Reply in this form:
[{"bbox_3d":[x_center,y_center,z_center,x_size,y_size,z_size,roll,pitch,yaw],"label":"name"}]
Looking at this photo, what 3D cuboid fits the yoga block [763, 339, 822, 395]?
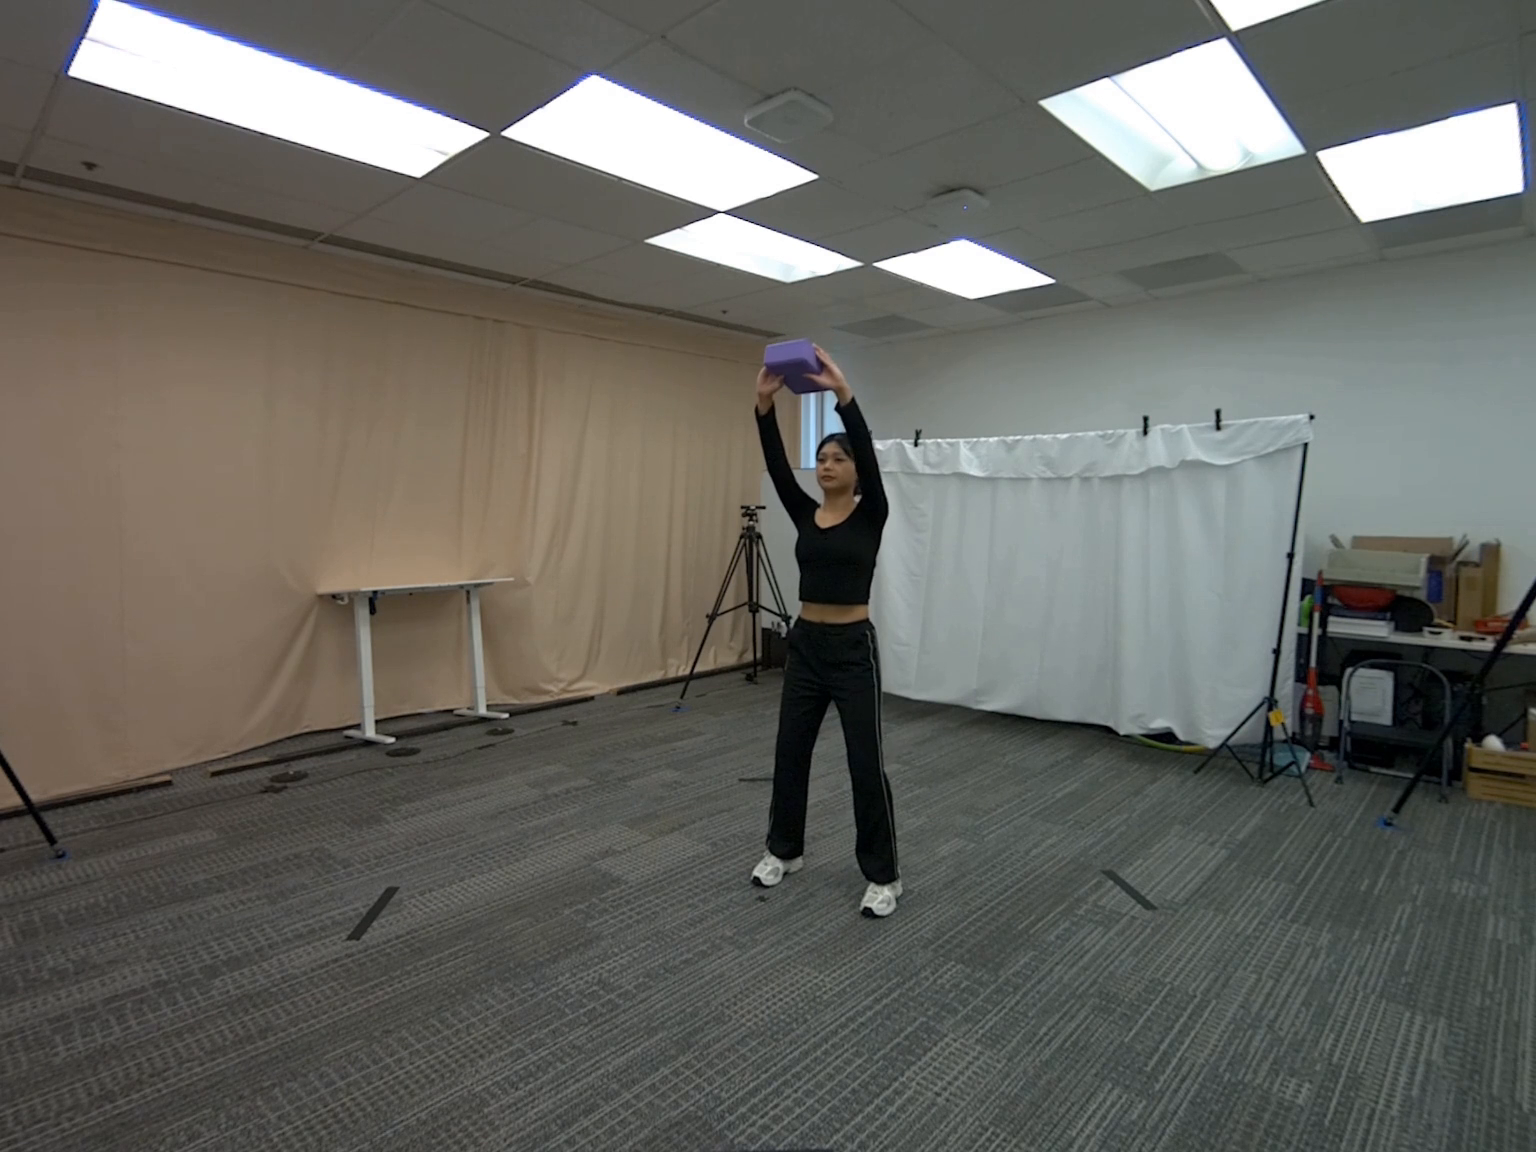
[{"bbox_3d":[0.106,-0.659,2.685,0.153,0.077,0.221,0,-14,30],"label":"yoga block"}]
